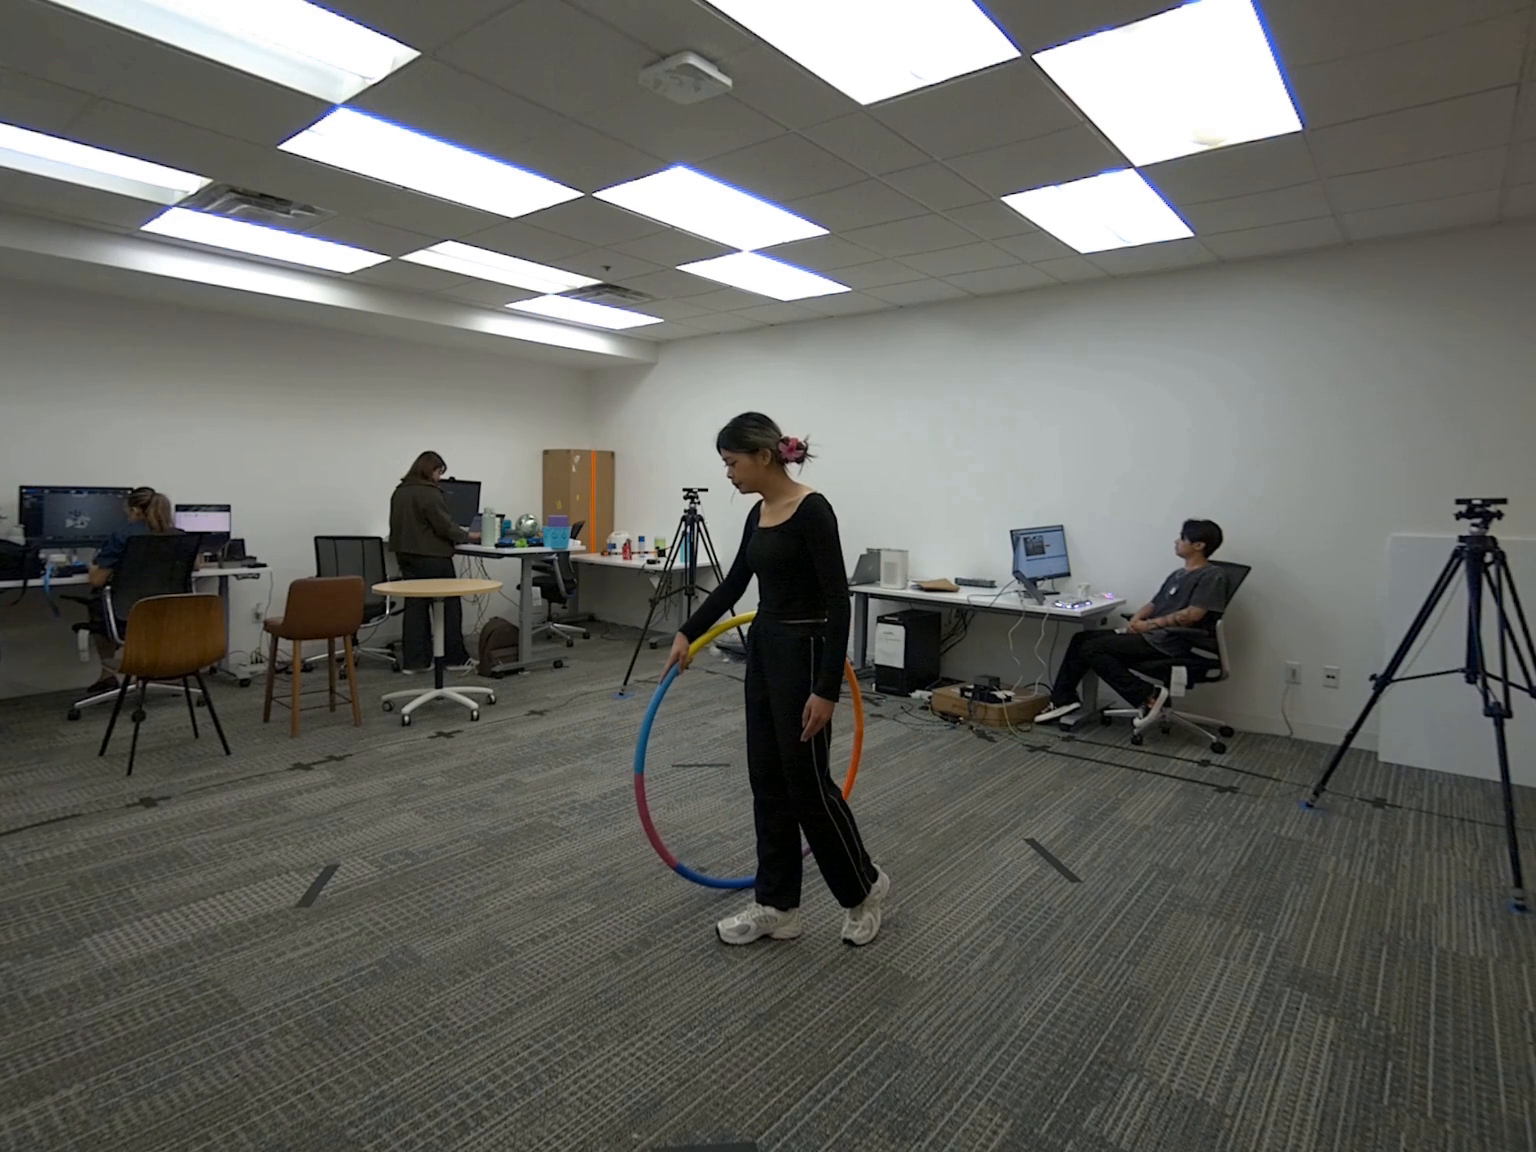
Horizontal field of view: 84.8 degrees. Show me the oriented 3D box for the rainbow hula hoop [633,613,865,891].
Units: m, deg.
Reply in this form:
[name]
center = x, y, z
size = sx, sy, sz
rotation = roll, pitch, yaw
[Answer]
[rainbow hula hoop]
center = -0.035, 0.605, 2.978
size = 0.950, 0.976, 0.037
rotation = -2, 3, -35
